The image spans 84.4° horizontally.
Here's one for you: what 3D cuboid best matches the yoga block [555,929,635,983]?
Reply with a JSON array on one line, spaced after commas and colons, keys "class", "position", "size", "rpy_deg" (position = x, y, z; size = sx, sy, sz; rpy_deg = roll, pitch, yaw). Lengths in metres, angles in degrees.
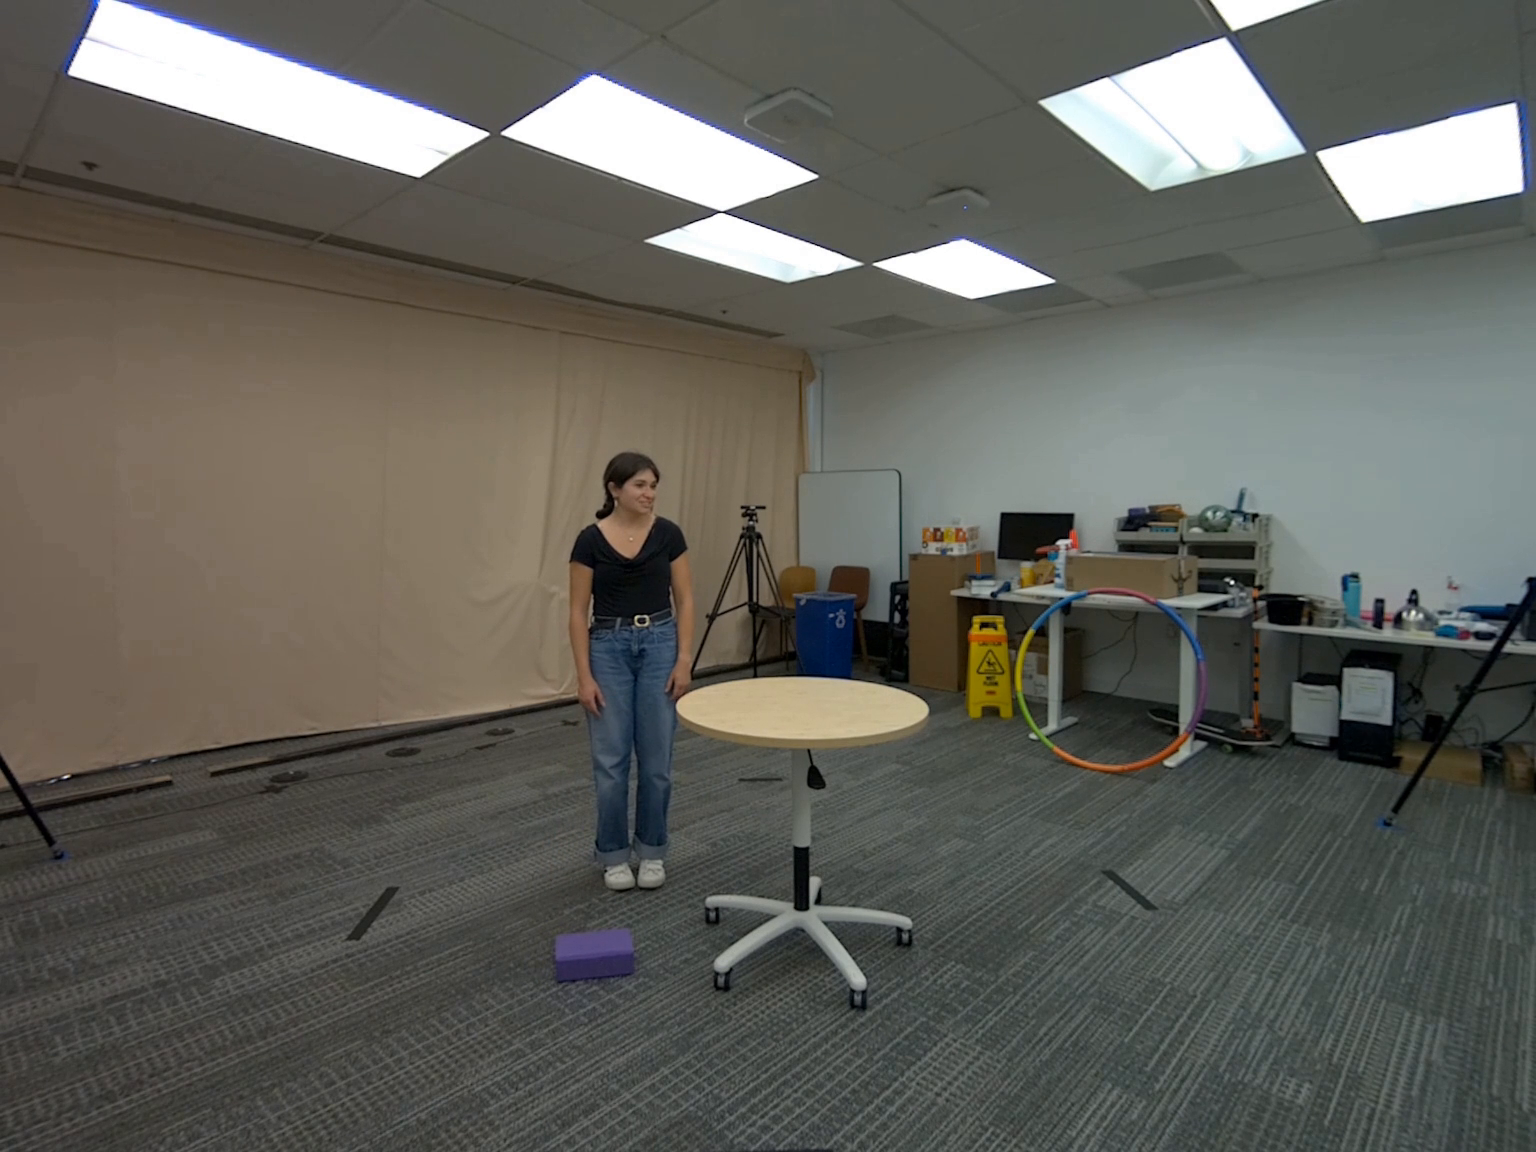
[{"class": "yoga block", "position": [-0.531, 1.140, 2.548], "size": [0.226, 0.076, 0.151], "rpy_deg": [2, 4, -11]}]
